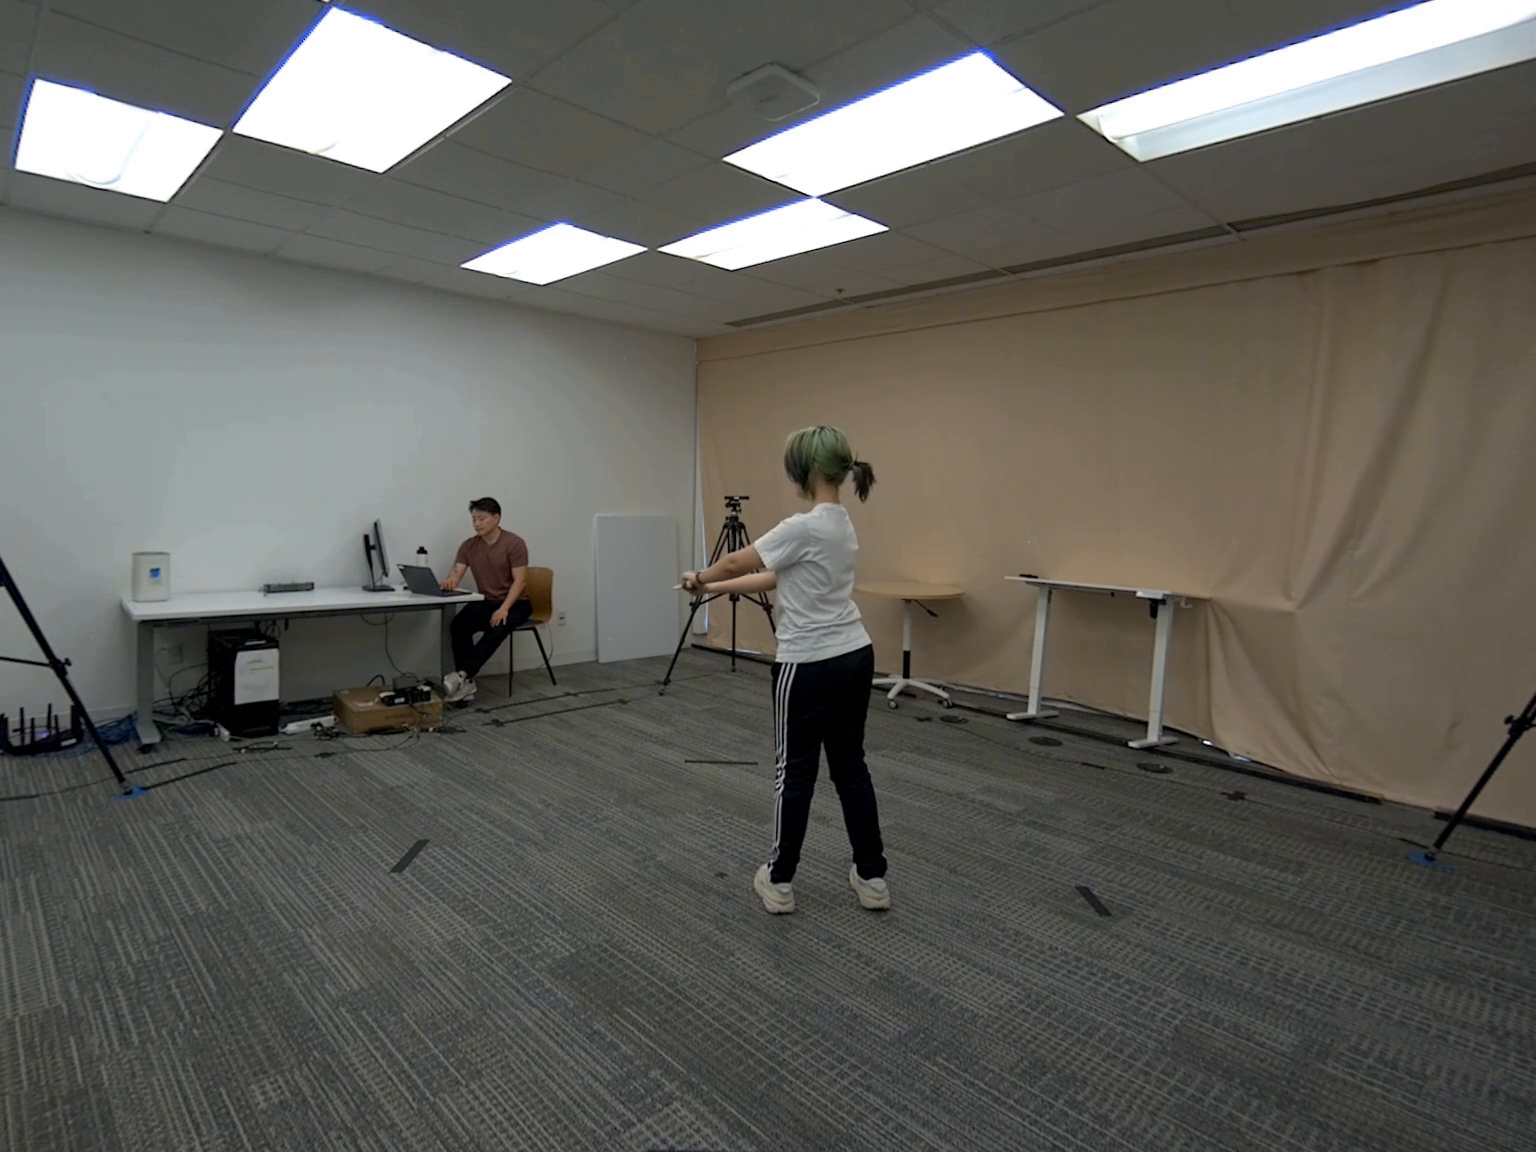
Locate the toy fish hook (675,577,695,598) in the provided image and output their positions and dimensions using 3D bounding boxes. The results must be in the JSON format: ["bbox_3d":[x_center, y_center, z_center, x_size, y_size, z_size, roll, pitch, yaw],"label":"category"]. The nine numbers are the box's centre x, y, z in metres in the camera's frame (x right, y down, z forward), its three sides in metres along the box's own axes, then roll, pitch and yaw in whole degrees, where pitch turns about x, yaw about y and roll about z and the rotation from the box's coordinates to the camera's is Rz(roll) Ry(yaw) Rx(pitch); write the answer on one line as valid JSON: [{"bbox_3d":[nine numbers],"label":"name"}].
[{"bbox_3d":[-0.304,0.039,3.290,0.226,0.048,0.501,-10,-1,13],"label":"toy fish hook"}]
